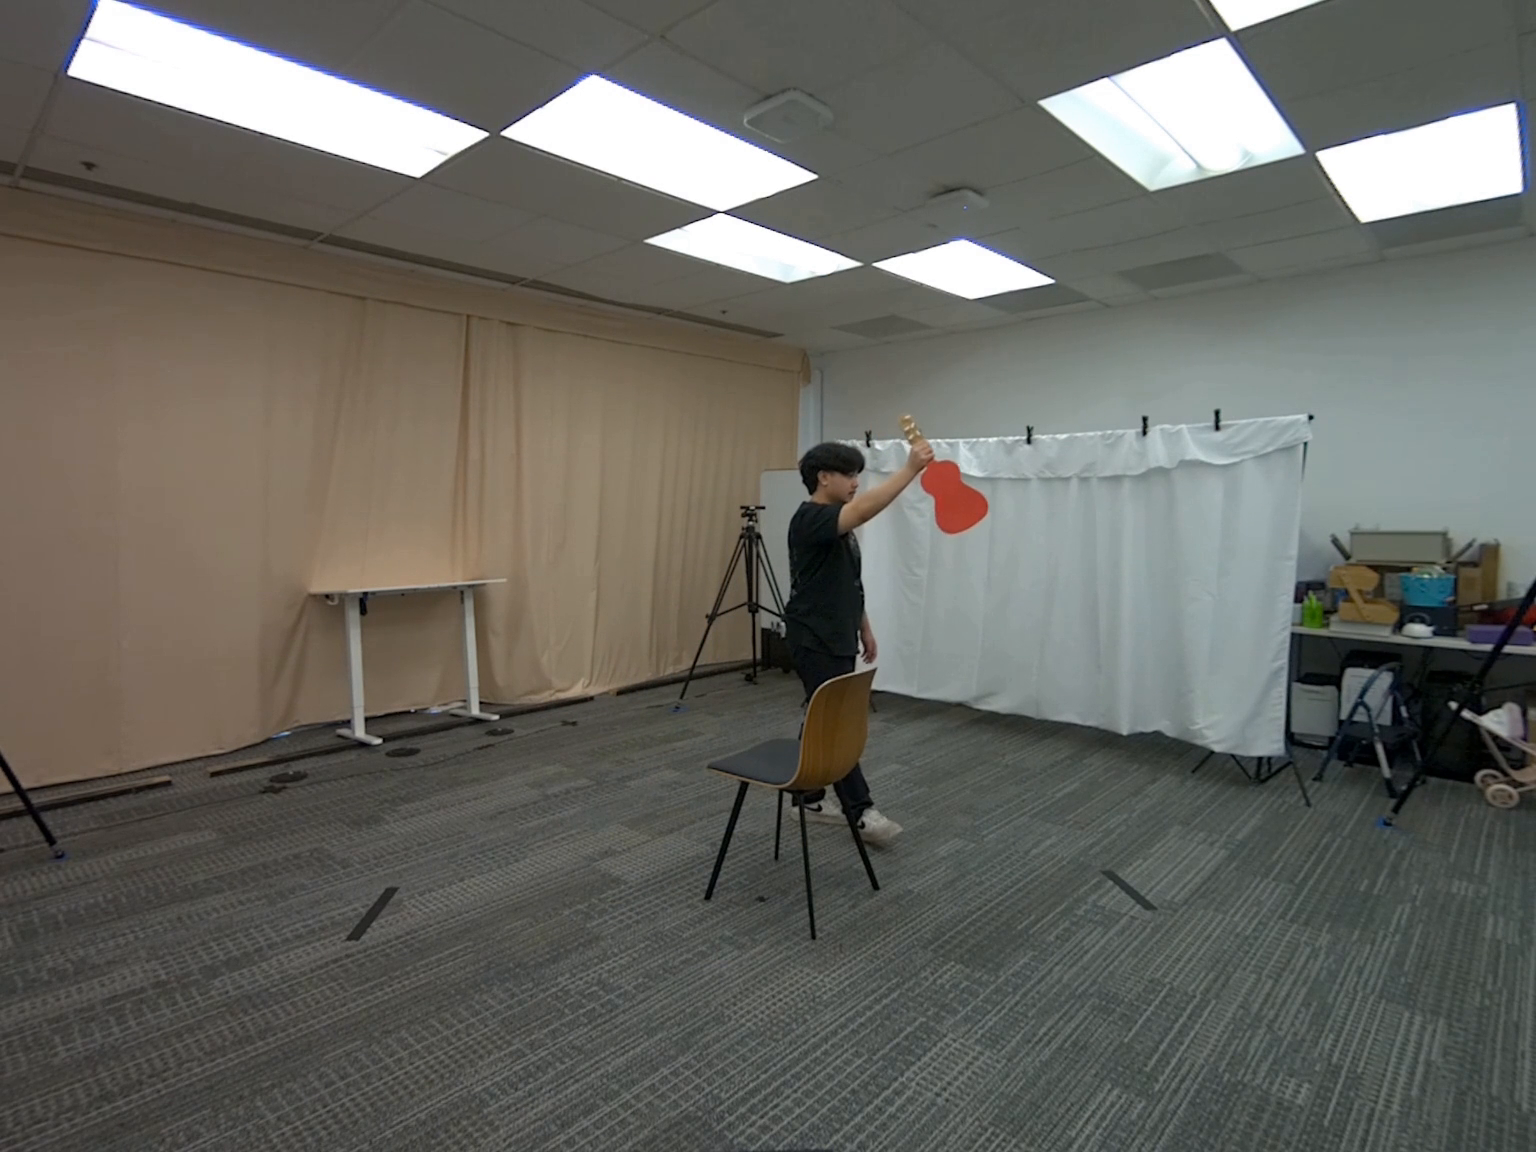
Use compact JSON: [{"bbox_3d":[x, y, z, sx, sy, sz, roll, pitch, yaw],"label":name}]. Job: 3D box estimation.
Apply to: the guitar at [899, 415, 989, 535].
[{"bbox_3d":[0.610,-0.377,3.134,0.193,0.505,0.069,-38,-13,7],"label":"guitar"}]
